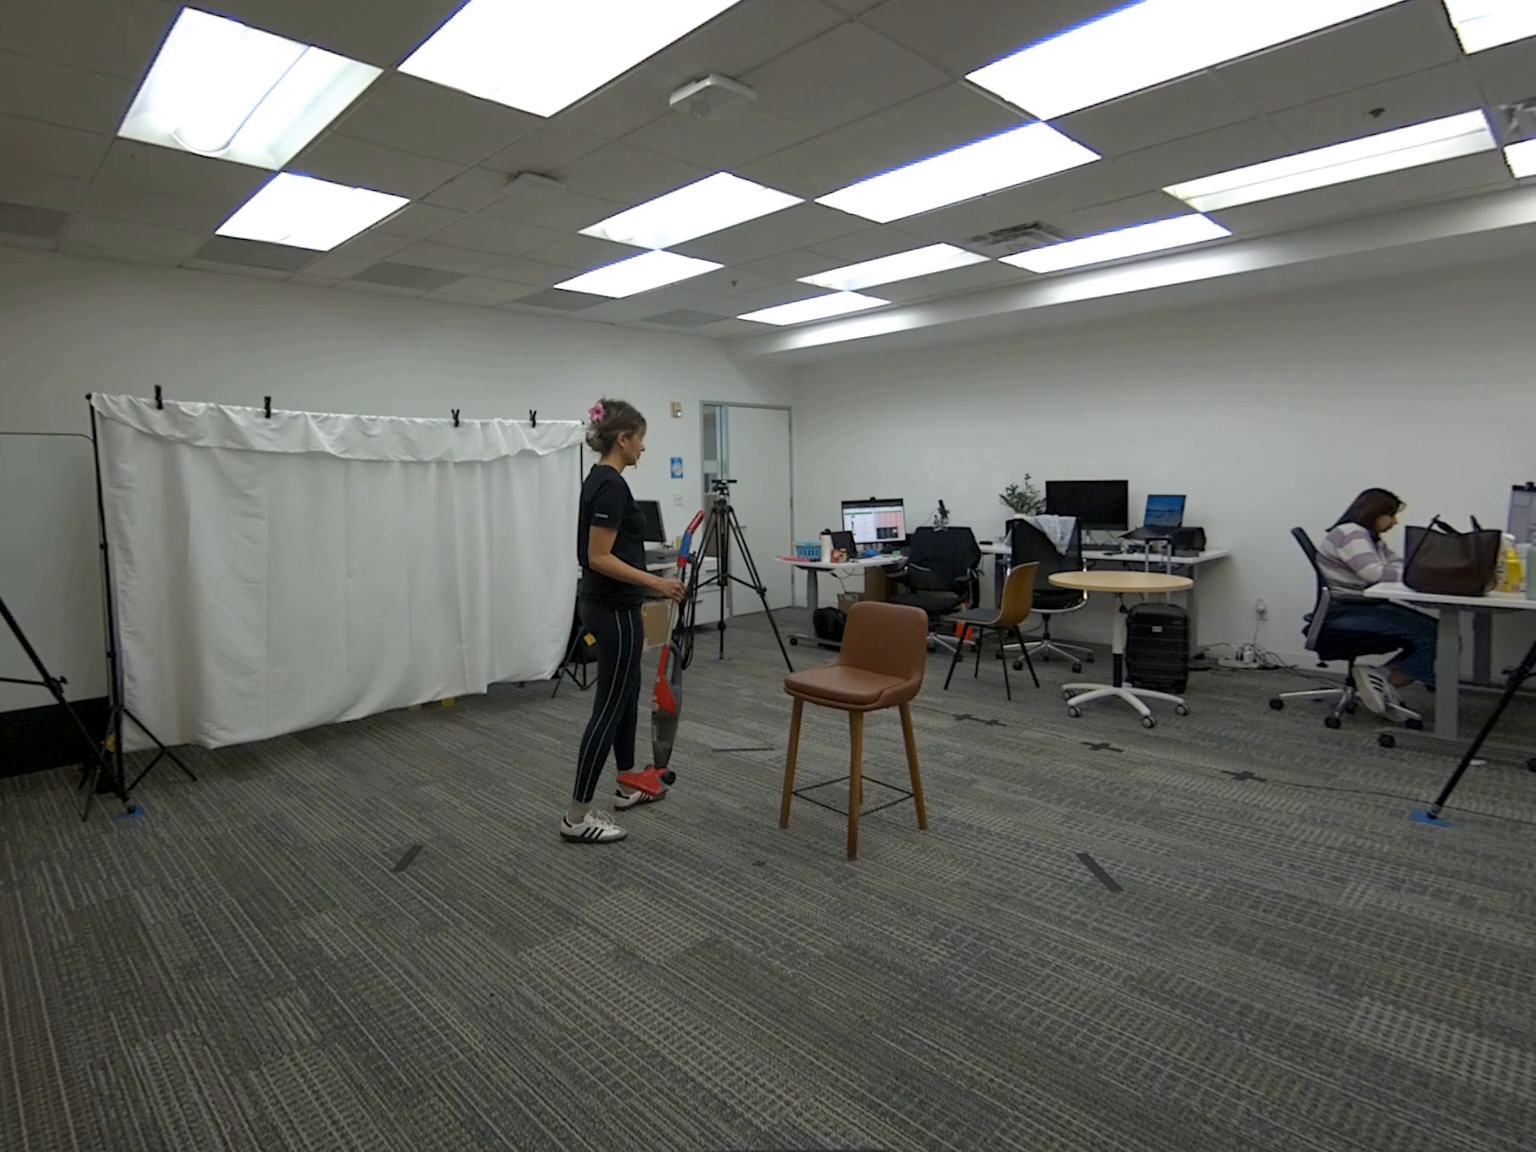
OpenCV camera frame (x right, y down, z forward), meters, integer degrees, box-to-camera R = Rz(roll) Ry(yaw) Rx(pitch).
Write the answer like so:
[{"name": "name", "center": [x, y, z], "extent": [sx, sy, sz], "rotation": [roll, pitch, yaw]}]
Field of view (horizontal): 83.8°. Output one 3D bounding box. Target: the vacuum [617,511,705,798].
[{"name": "vacuum", "center": [-0.347, 0.275, 3.269], "extent": [0.139, 1.055, 0.260], "rotation": [19, -11, -41]}]
